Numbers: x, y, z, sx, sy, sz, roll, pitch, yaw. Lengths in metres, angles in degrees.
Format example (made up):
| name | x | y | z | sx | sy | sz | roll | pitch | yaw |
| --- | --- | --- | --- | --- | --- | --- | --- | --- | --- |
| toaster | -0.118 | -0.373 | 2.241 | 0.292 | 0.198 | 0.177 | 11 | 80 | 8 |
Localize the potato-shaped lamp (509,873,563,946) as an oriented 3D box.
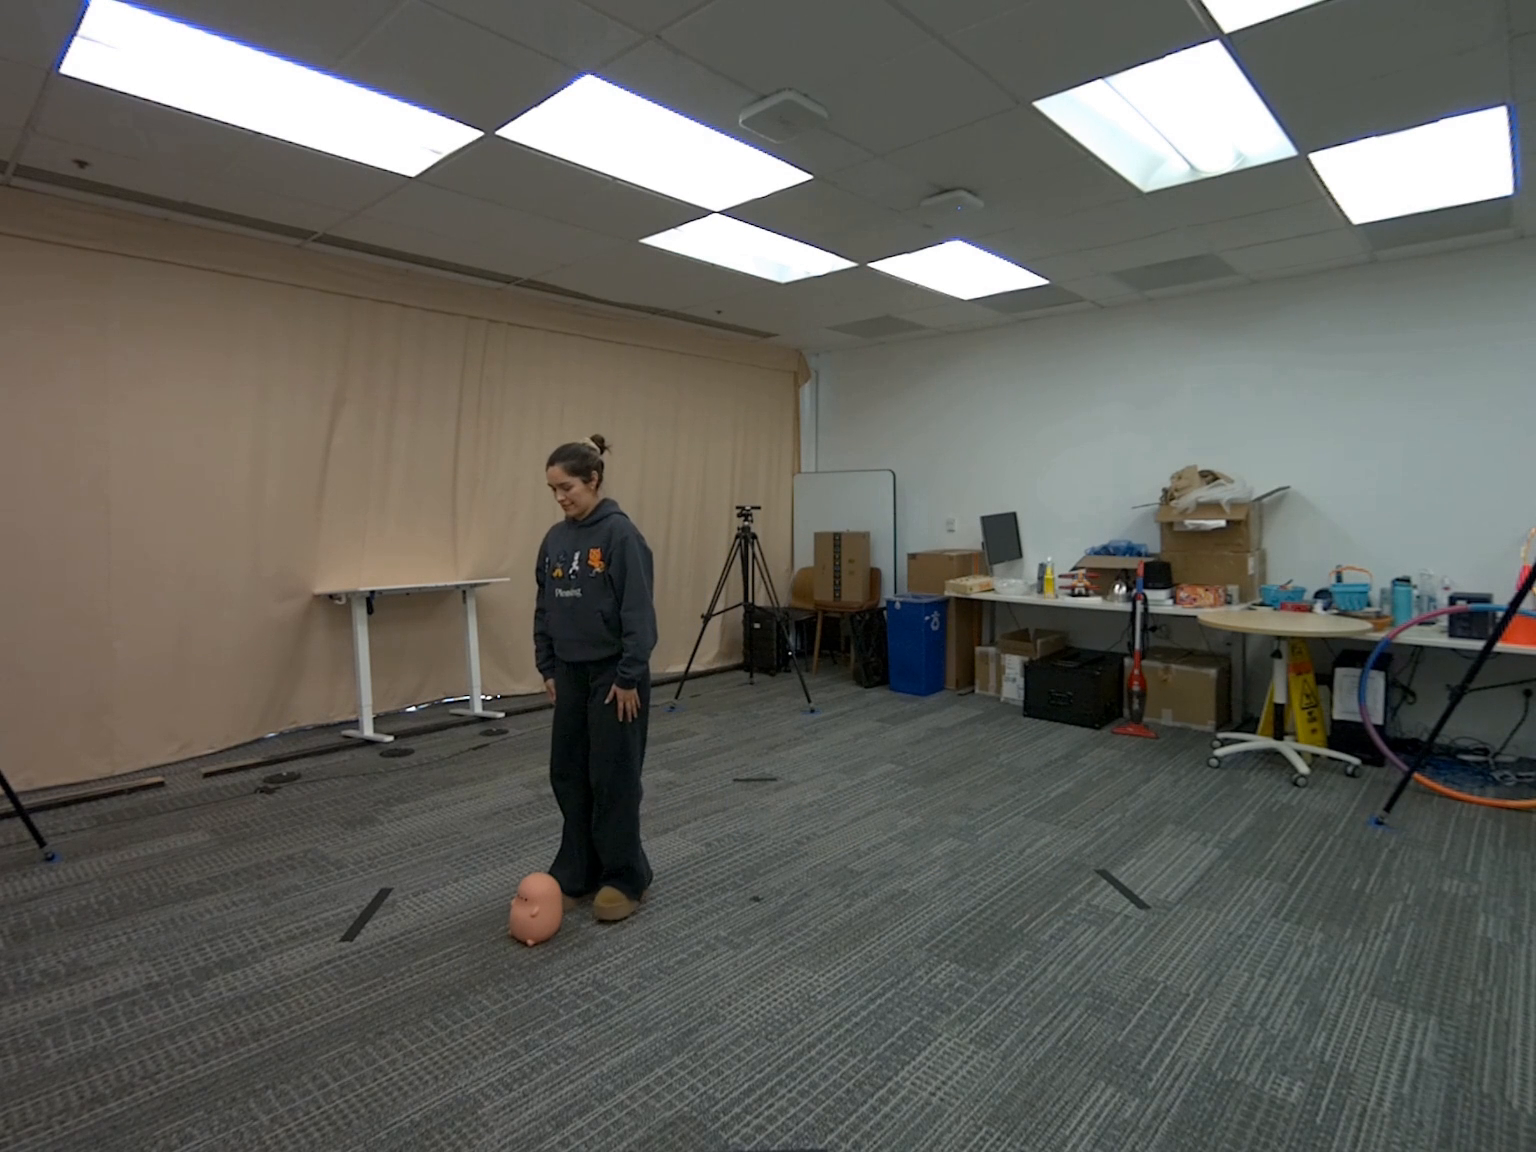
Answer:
| name | x | y | z | sx | sy | sz | roll | pitch | yaw |
| --- | --- | --- | --- | --- | --- | --- | --- | --- | --- |
| potato-shaped lamp | -0.740 | 1.072 | 2.743 | 0.170 | 0.198 | 0.166 | 4 | 3 | 43 |
